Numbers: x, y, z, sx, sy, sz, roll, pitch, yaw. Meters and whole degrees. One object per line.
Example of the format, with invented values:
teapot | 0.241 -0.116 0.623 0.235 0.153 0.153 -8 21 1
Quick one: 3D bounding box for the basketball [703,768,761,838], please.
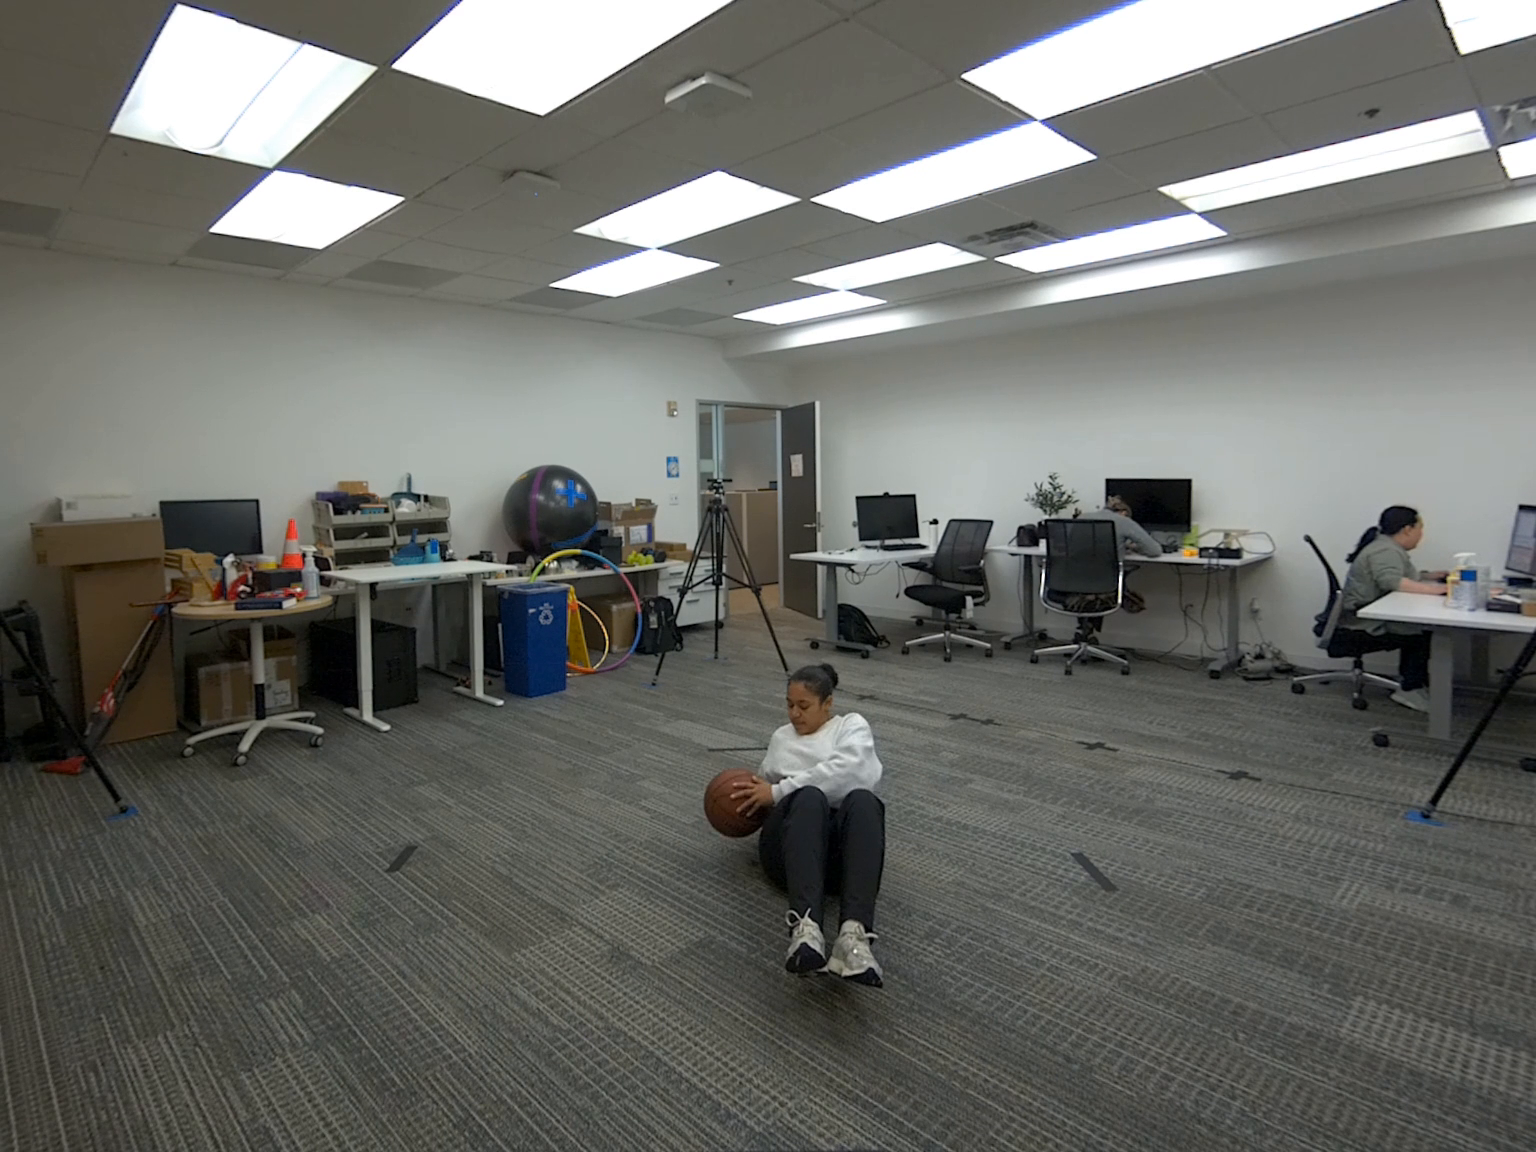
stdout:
basketball | -0.096 0.798 3.061 0.236 0.235 0.237 -1 5 -2
